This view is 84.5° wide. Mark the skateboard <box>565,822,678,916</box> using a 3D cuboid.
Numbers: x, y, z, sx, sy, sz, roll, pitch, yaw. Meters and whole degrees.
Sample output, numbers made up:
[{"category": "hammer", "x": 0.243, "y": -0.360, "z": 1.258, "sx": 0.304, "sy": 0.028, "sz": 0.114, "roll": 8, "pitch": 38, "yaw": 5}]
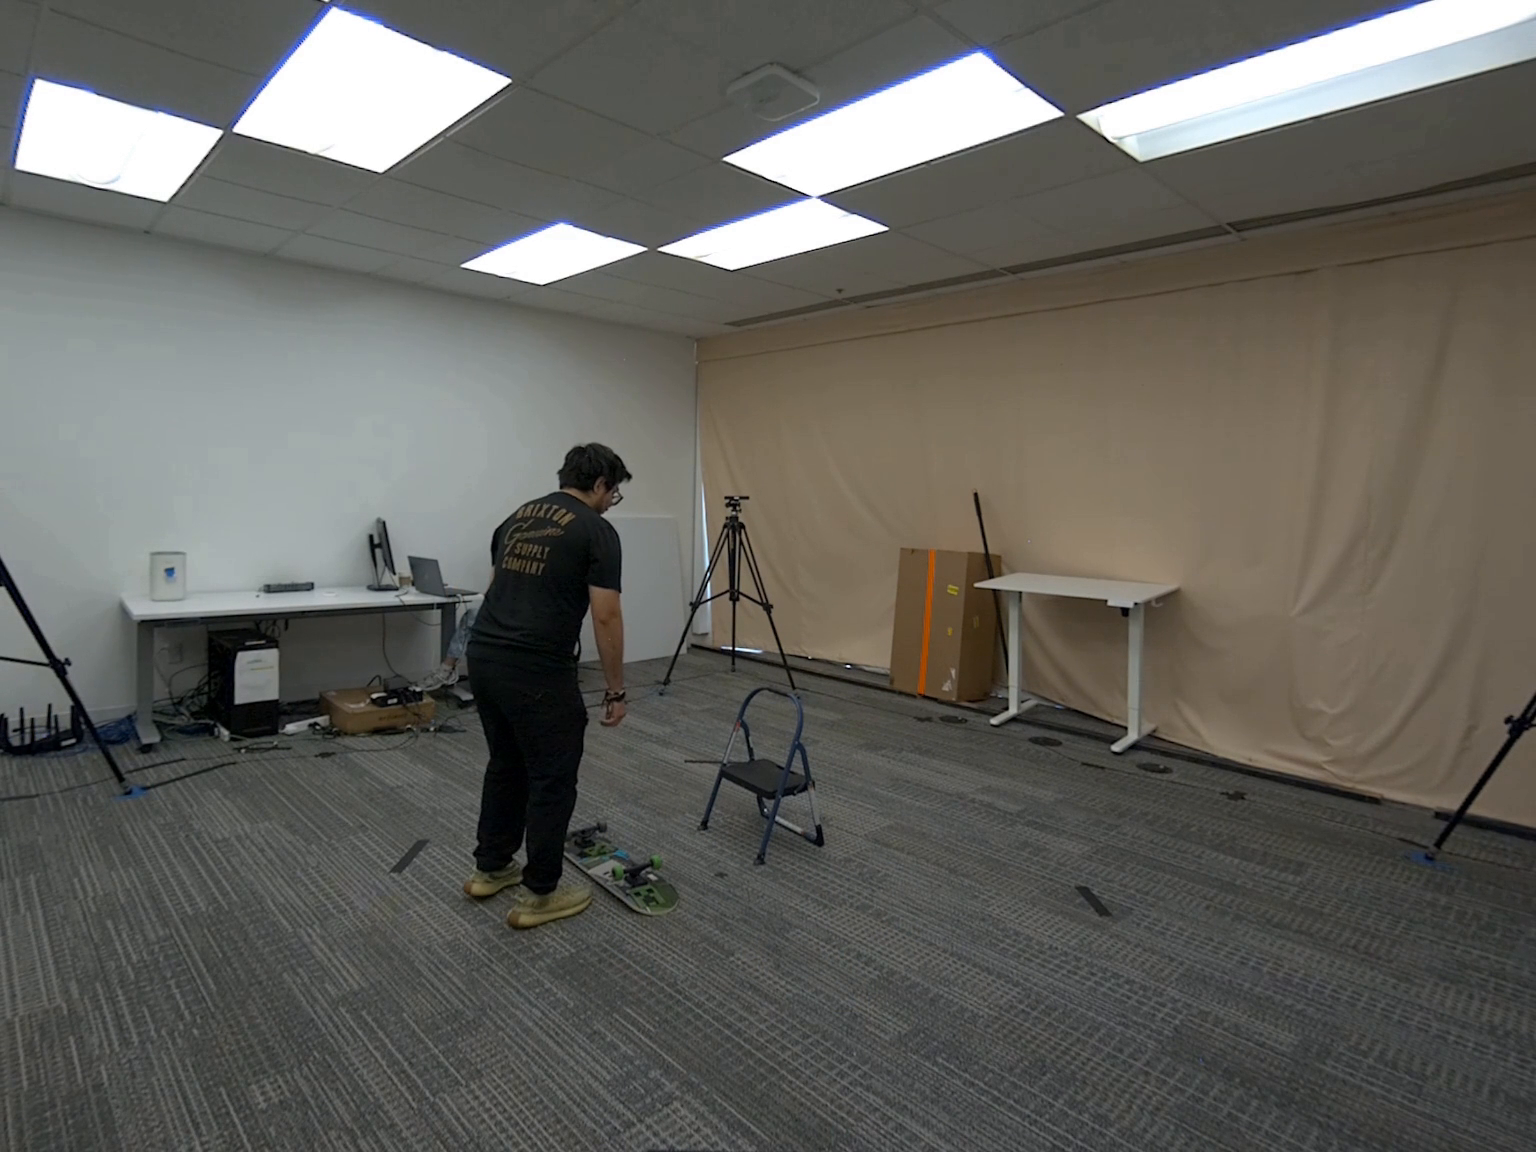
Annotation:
[{"category": "skateboard", "x": -0.597, "y": 1.044, "z": 3.118, "sx": 0.189, "sy": 0.110, "sz": 0.805, "roll": -3, "pitch": 7, "yaw": -39}]
